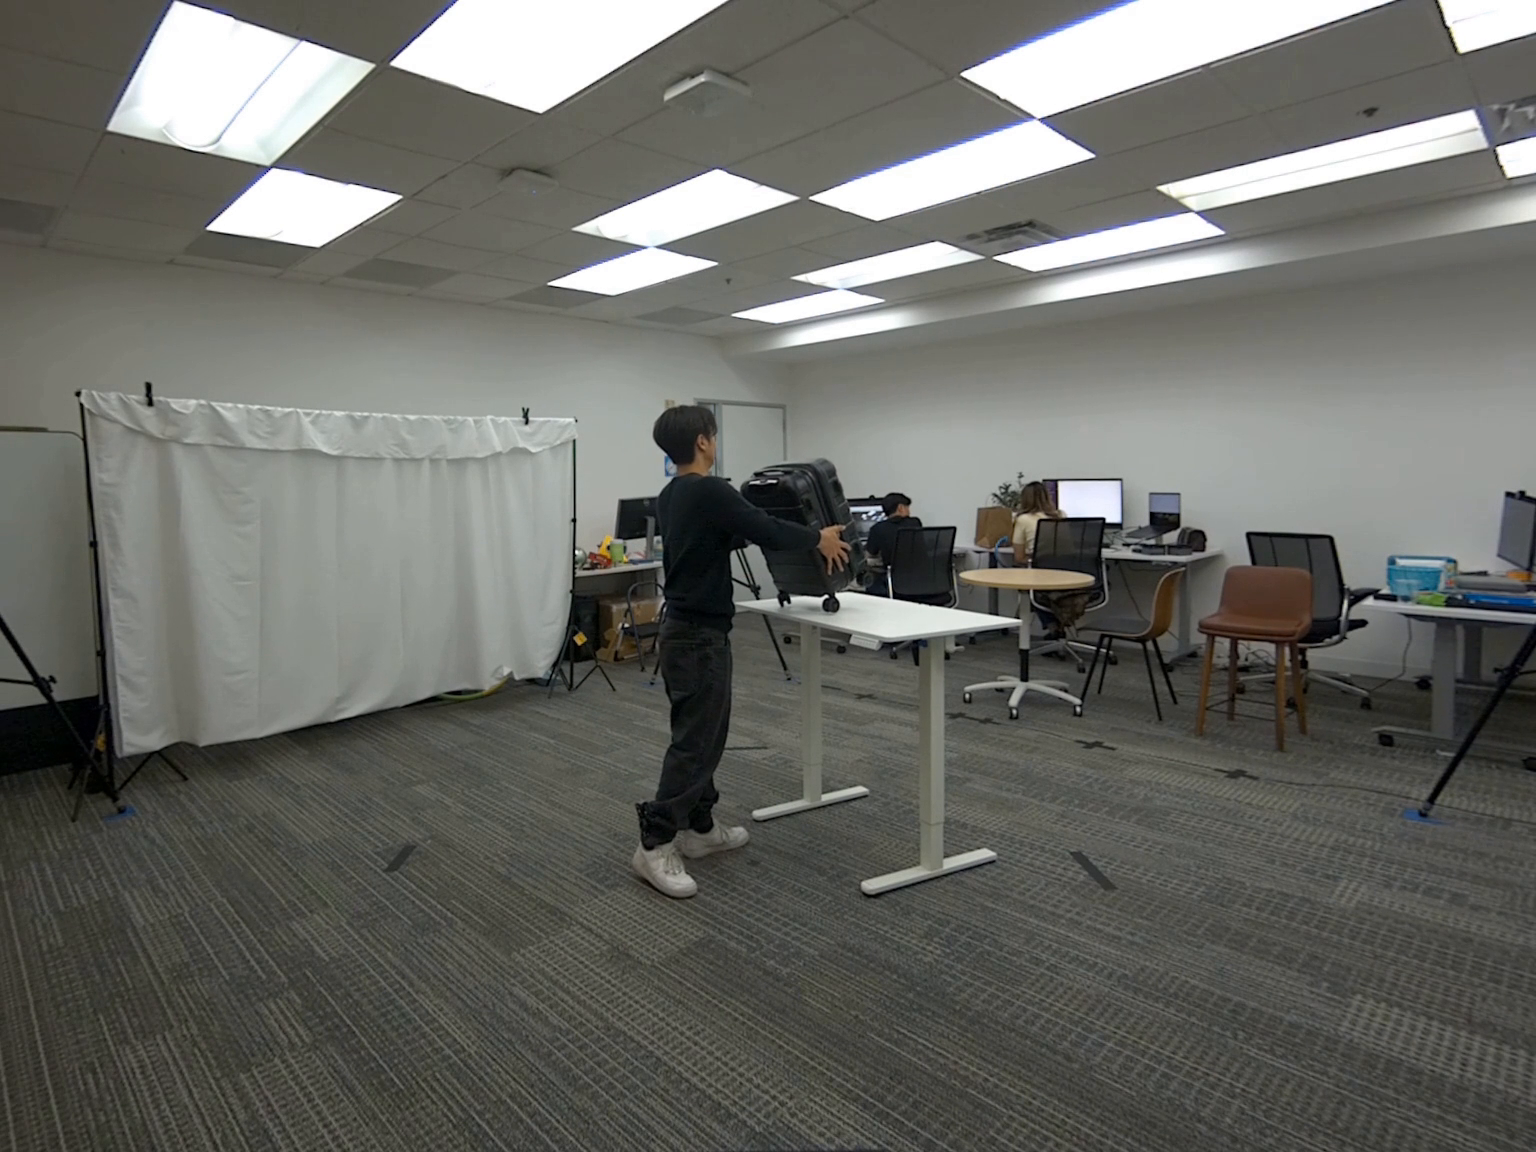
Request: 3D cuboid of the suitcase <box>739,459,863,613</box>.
[{"bbox_3d":[0.138,-0.172,3.300,0.246,0.540,0.386,-30,18,-32],"label":"suitcase"}]
